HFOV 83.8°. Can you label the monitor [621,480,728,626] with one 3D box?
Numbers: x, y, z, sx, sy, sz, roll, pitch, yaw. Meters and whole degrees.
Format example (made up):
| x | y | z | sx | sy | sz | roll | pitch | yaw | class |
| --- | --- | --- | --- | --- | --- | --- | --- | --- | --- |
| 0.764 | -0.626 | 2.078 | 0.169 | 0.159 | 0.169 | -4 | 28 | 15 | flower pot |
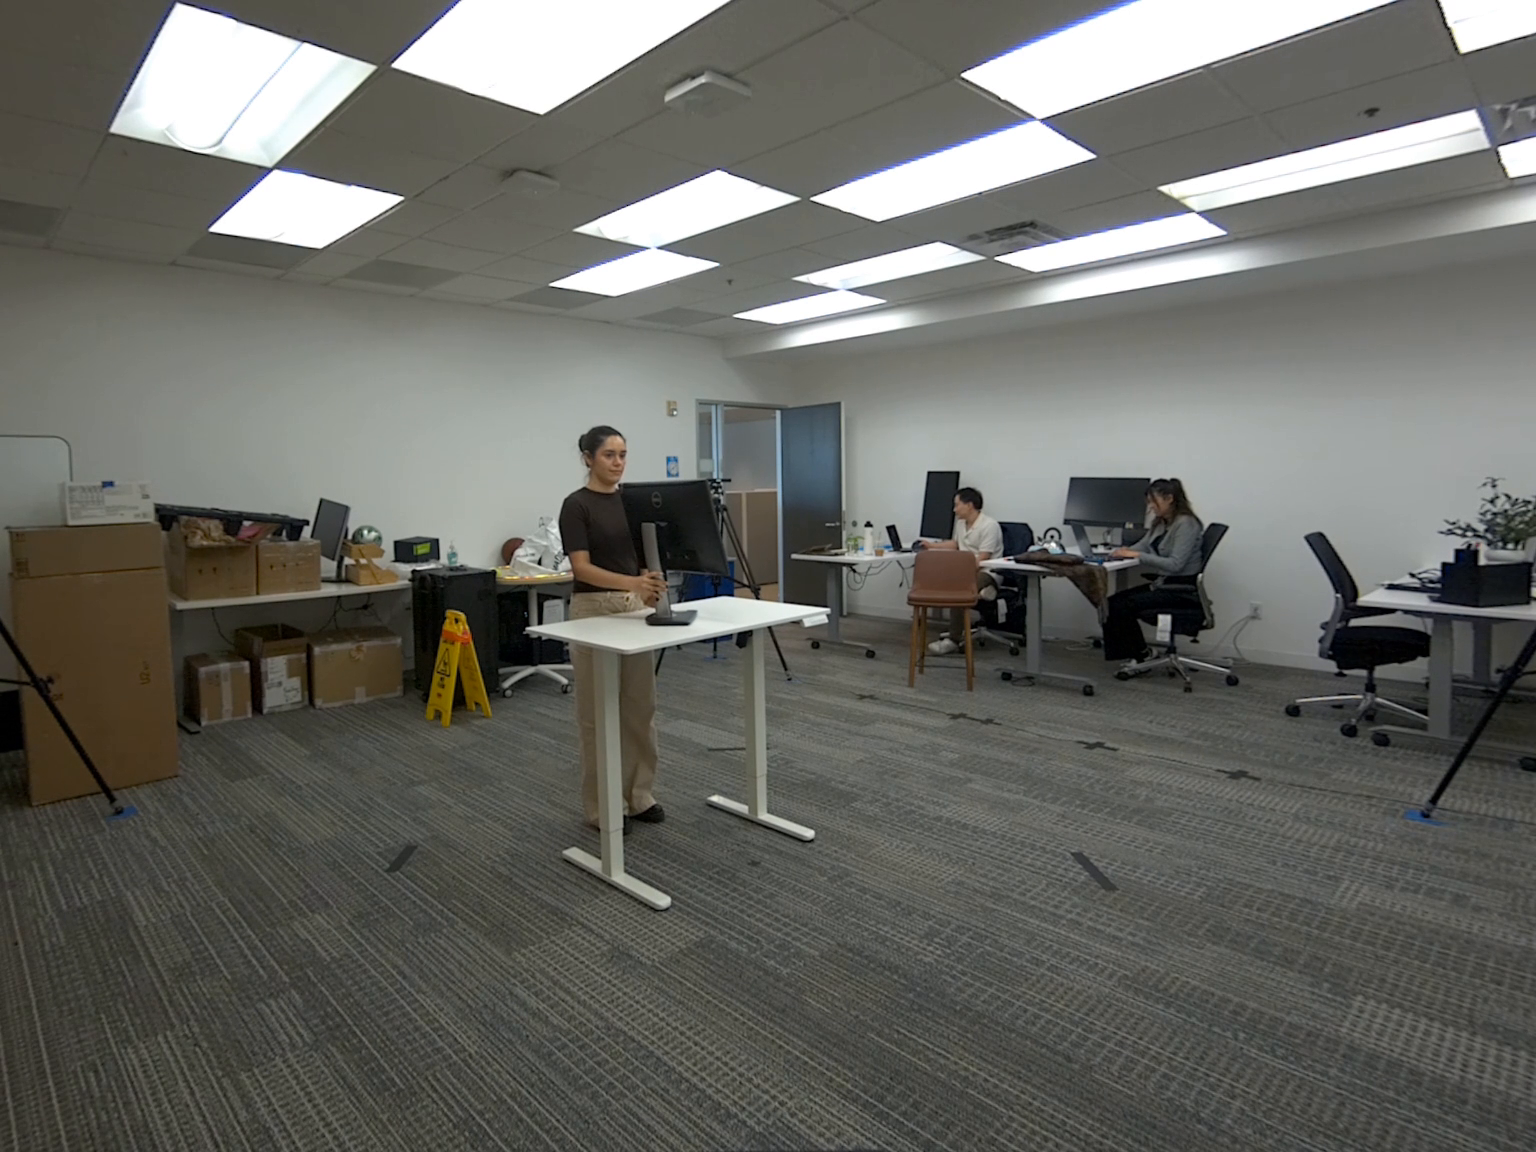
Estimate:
| x | y | z | sx | sy | sz | roll | pitch | yaw | class |
| --- | --- | --- | --- | --- | --- | --- | --- | --- | --- |
| -0.380 | -0.089 | 3.165 | 0.182 | 0.521 | 0.555 | -5 | 4 | -45 | monitor |
